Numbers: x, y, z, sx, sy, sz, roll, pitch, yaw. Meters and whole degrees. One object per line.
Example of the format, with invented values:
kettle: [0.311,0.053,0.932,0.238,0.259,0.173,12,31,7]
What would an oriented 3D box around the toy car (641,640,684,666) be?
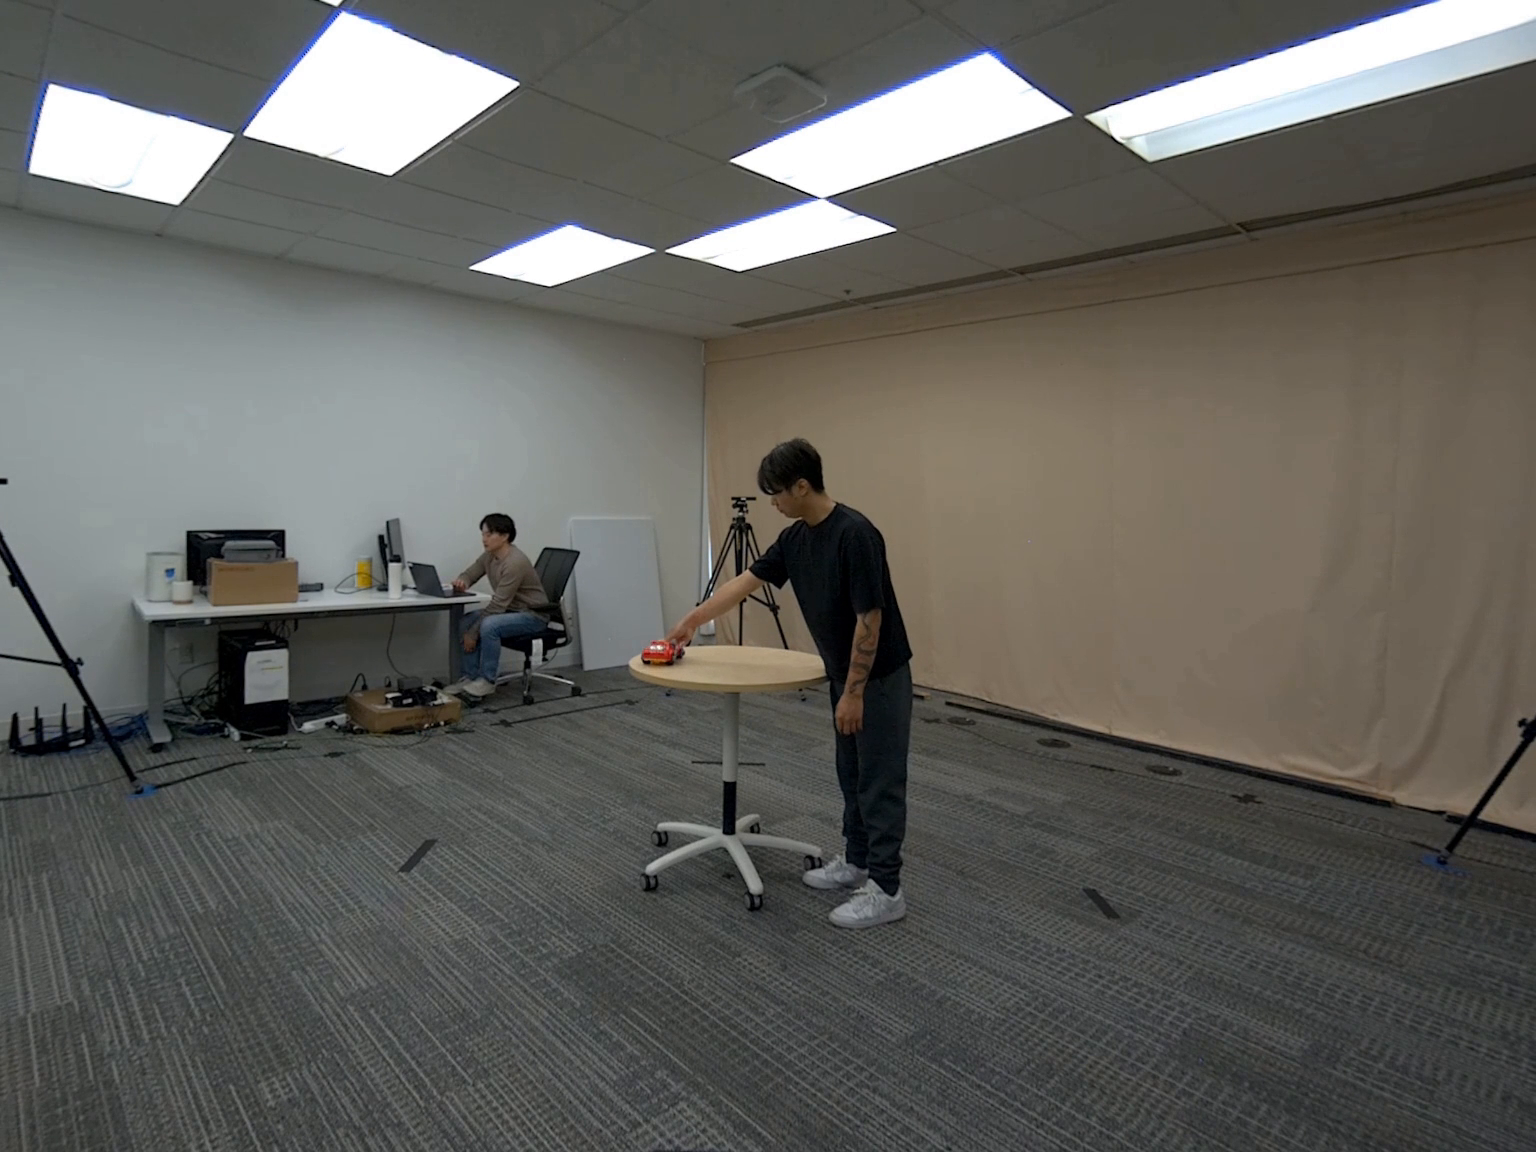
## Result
toy car: [-0.396,0.285,3.101,0.131,0.084,0.251,2,-8,7]
